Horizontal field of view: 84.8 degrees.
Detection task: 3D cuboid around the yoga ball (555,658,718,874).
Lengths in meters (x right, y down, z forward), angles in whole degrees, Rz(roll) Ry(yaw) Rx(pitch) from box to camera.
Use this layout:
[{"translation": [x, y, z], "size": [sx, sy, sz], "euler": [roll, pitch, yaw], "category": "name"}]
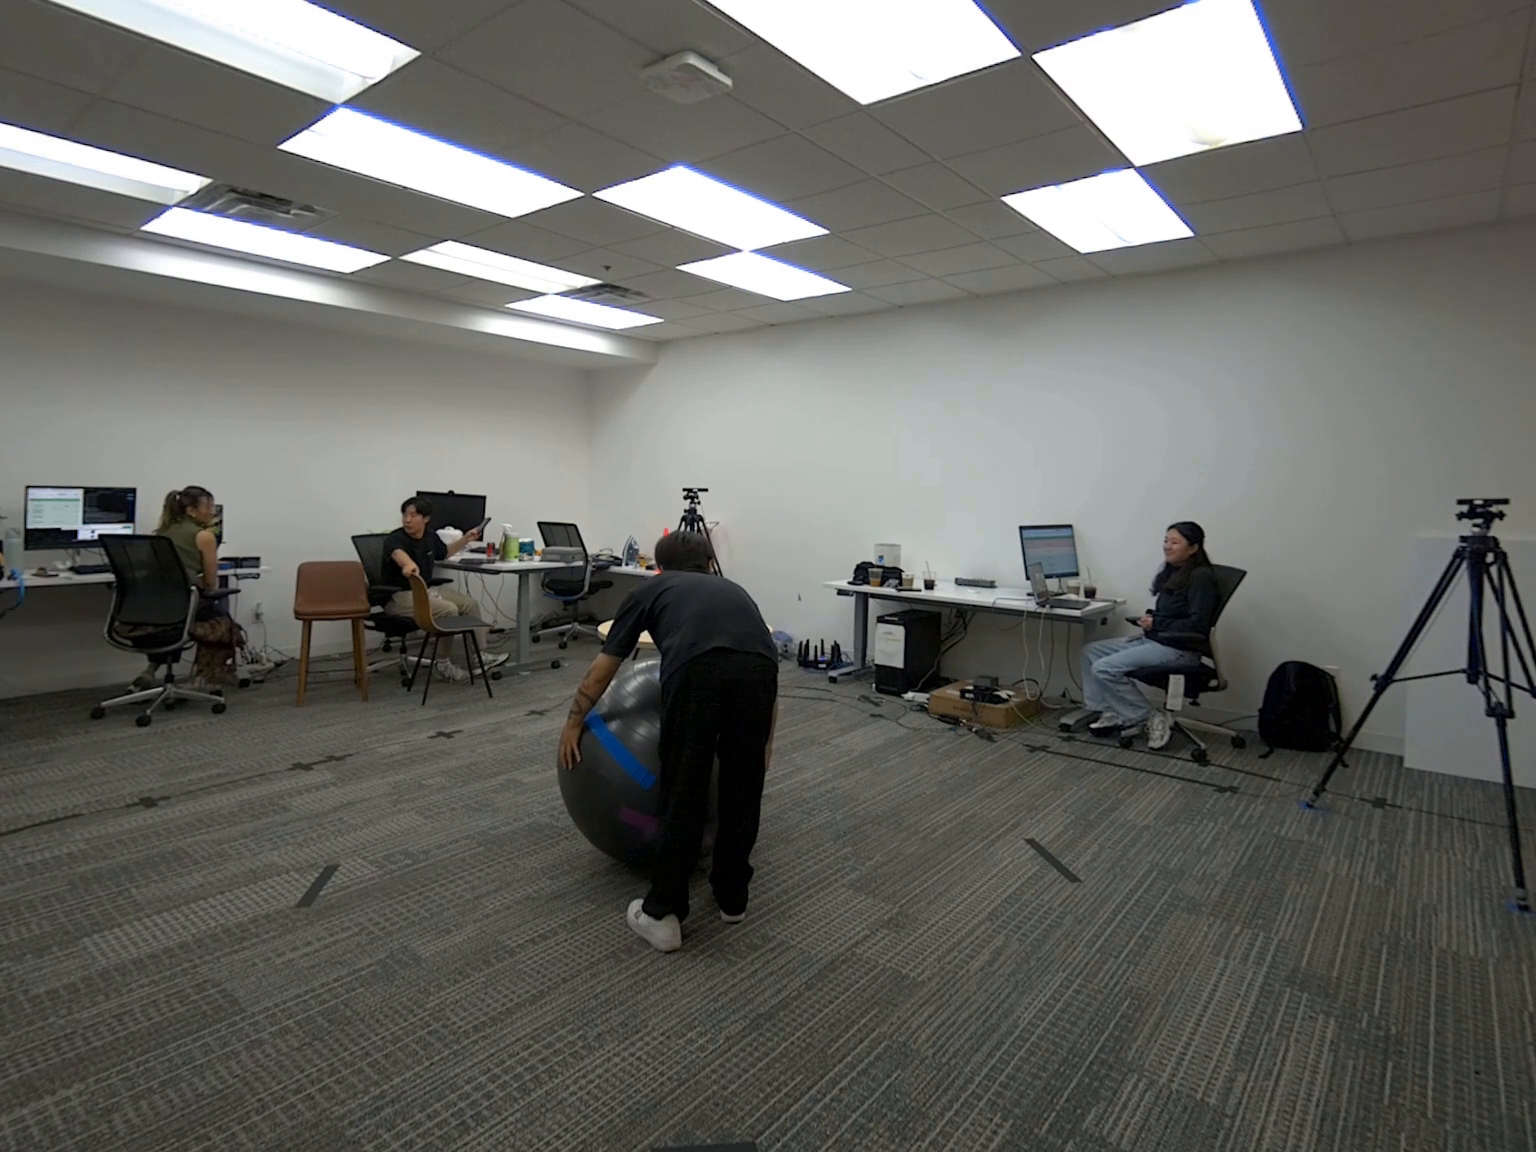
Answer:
[{"translation": [-0.410, 0.692, 3.164], "size": [0.757, 0.755, 0.762], "euler": [1, 4, -2], "category": "yoga ball"}]
